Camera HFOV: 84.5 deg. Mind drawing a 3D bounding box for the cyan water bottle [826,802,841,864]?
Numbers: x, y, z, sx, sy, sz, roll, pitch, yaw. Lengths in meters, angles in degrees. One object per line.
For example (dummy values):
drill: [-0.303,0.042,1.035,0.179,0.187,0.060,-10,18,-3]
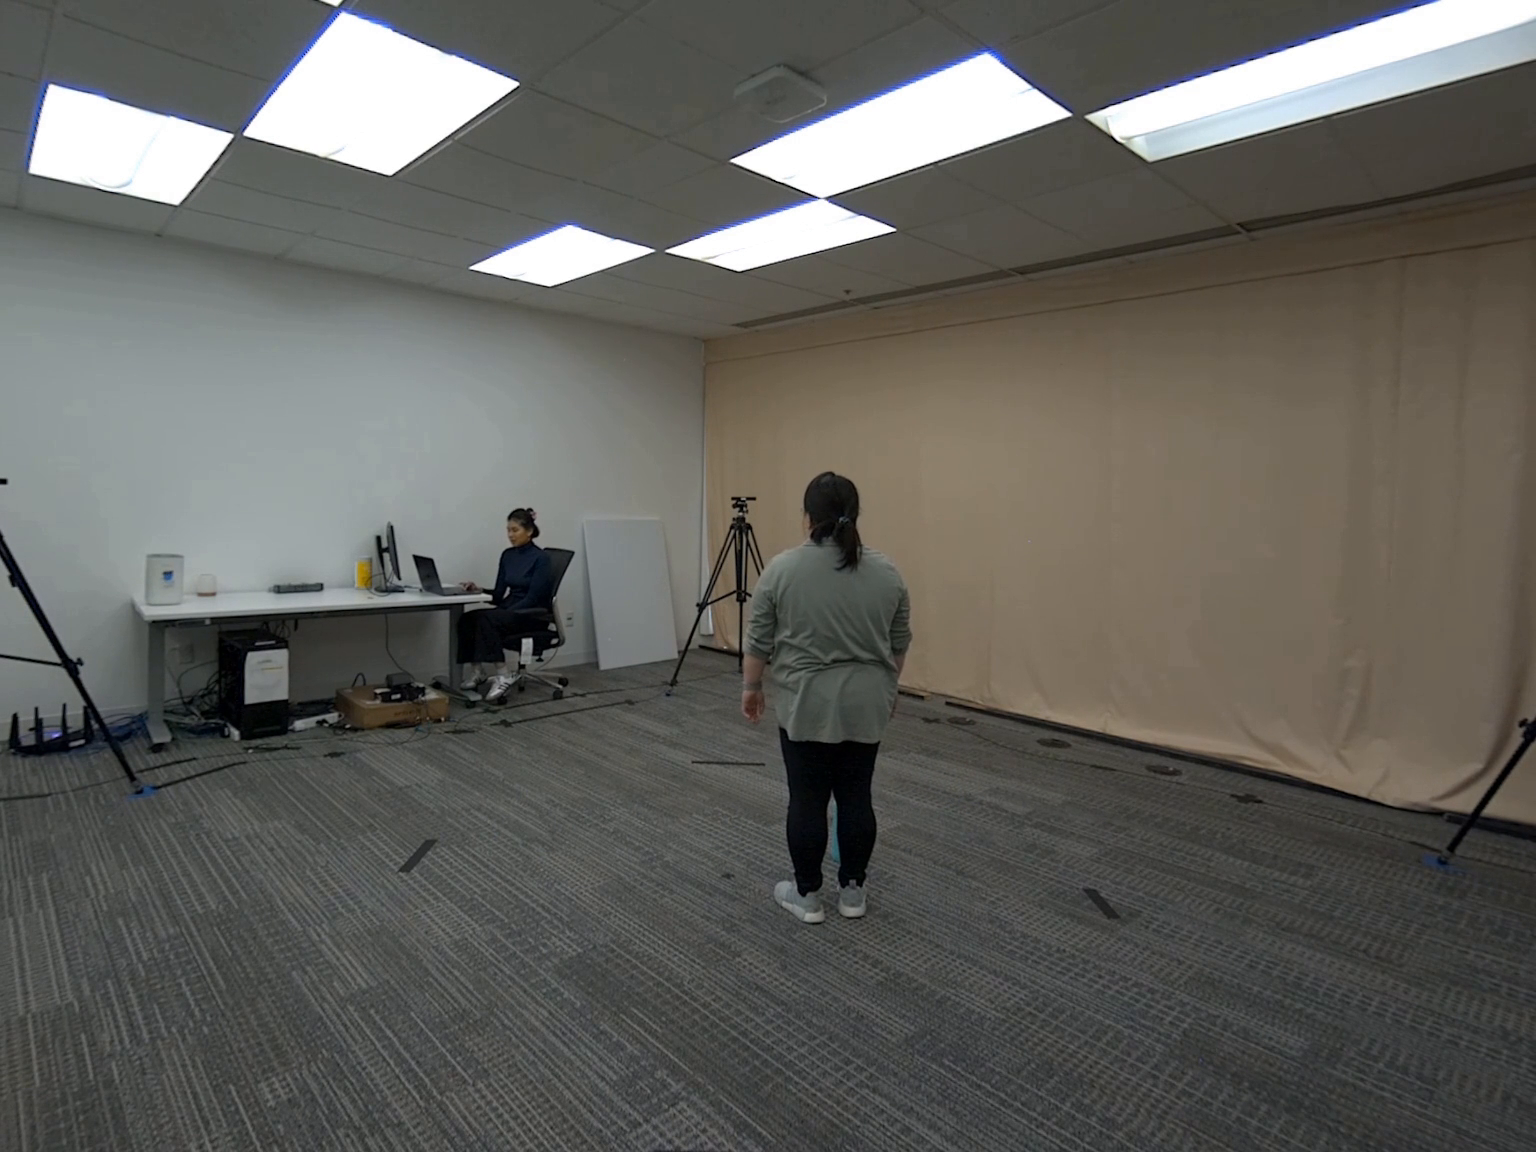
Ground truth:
cyan water bottle: [0.299,0.964,3.280,0.092,0.283,0.092,3,2,-2]
